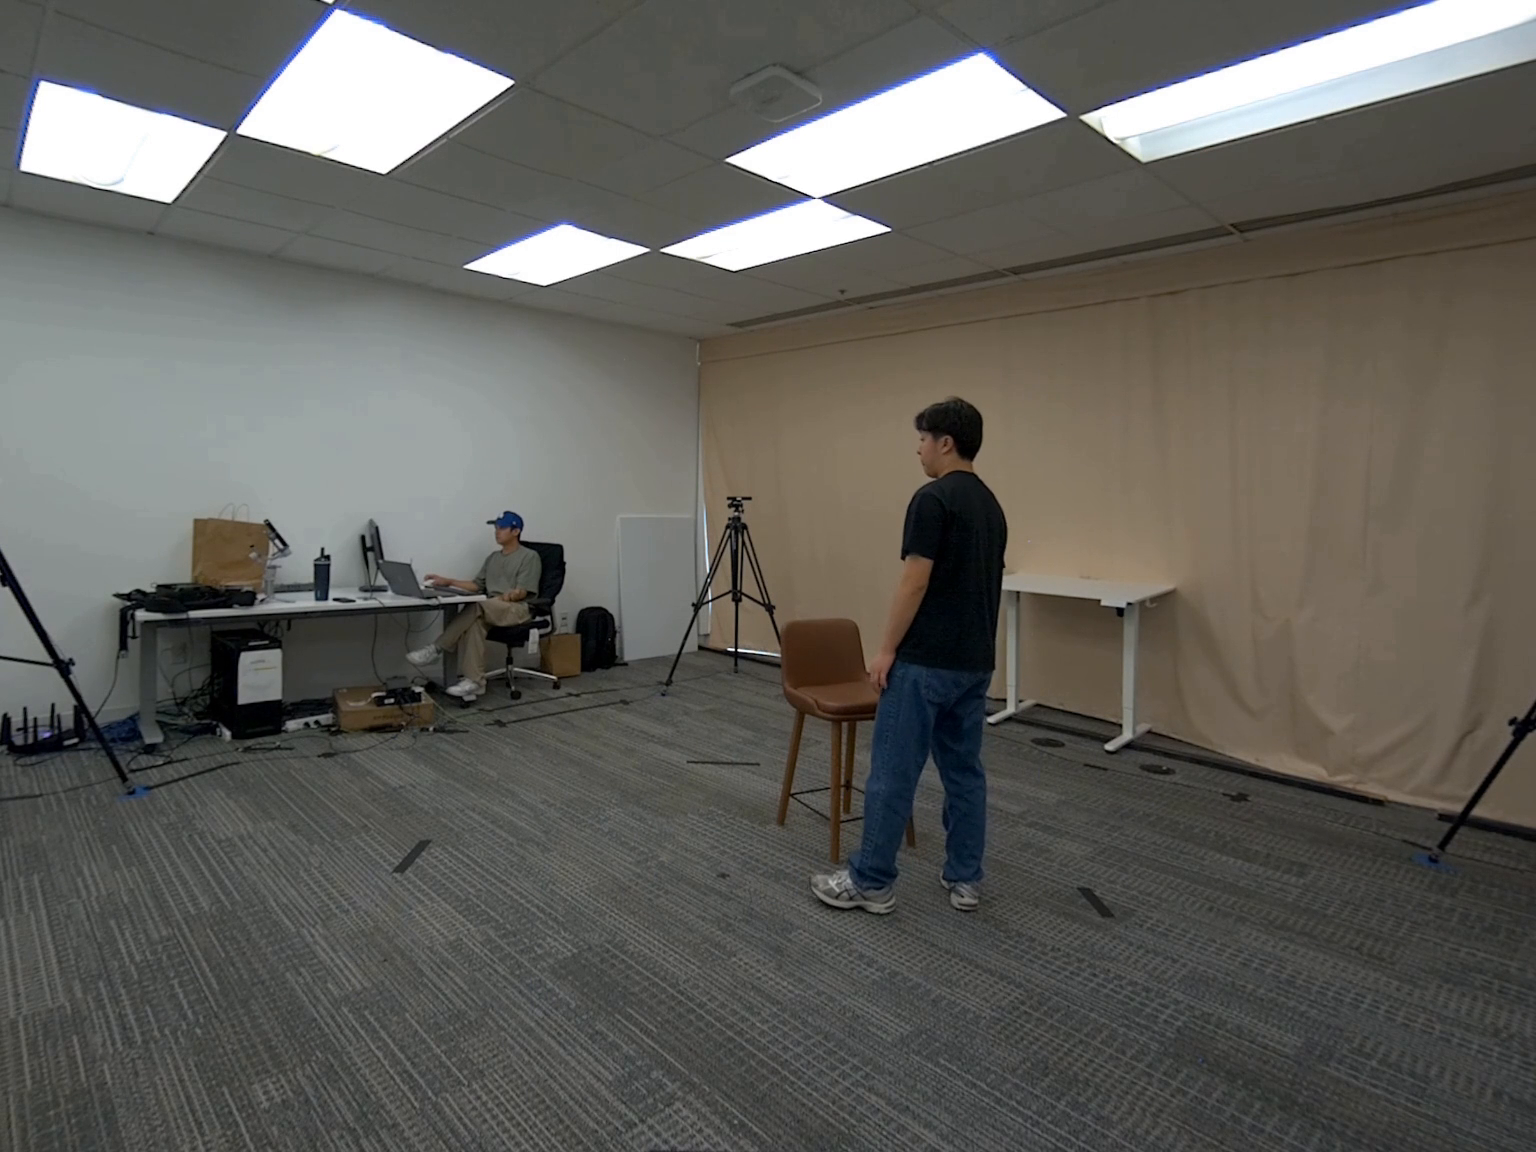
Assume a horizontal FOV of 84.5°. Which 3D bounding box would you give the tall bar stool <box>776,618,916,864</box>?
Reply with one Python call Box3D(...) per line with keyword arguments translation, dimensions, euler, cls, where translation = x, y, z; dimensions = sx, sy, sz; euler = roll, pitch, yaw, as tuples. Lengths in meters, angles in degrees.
Box3D(translation=(0.313, 0.649, 3.497), dimensions=(0.447, 0.889, 0.477), euler=(0, 1, -29), cls="tall bar stool")
